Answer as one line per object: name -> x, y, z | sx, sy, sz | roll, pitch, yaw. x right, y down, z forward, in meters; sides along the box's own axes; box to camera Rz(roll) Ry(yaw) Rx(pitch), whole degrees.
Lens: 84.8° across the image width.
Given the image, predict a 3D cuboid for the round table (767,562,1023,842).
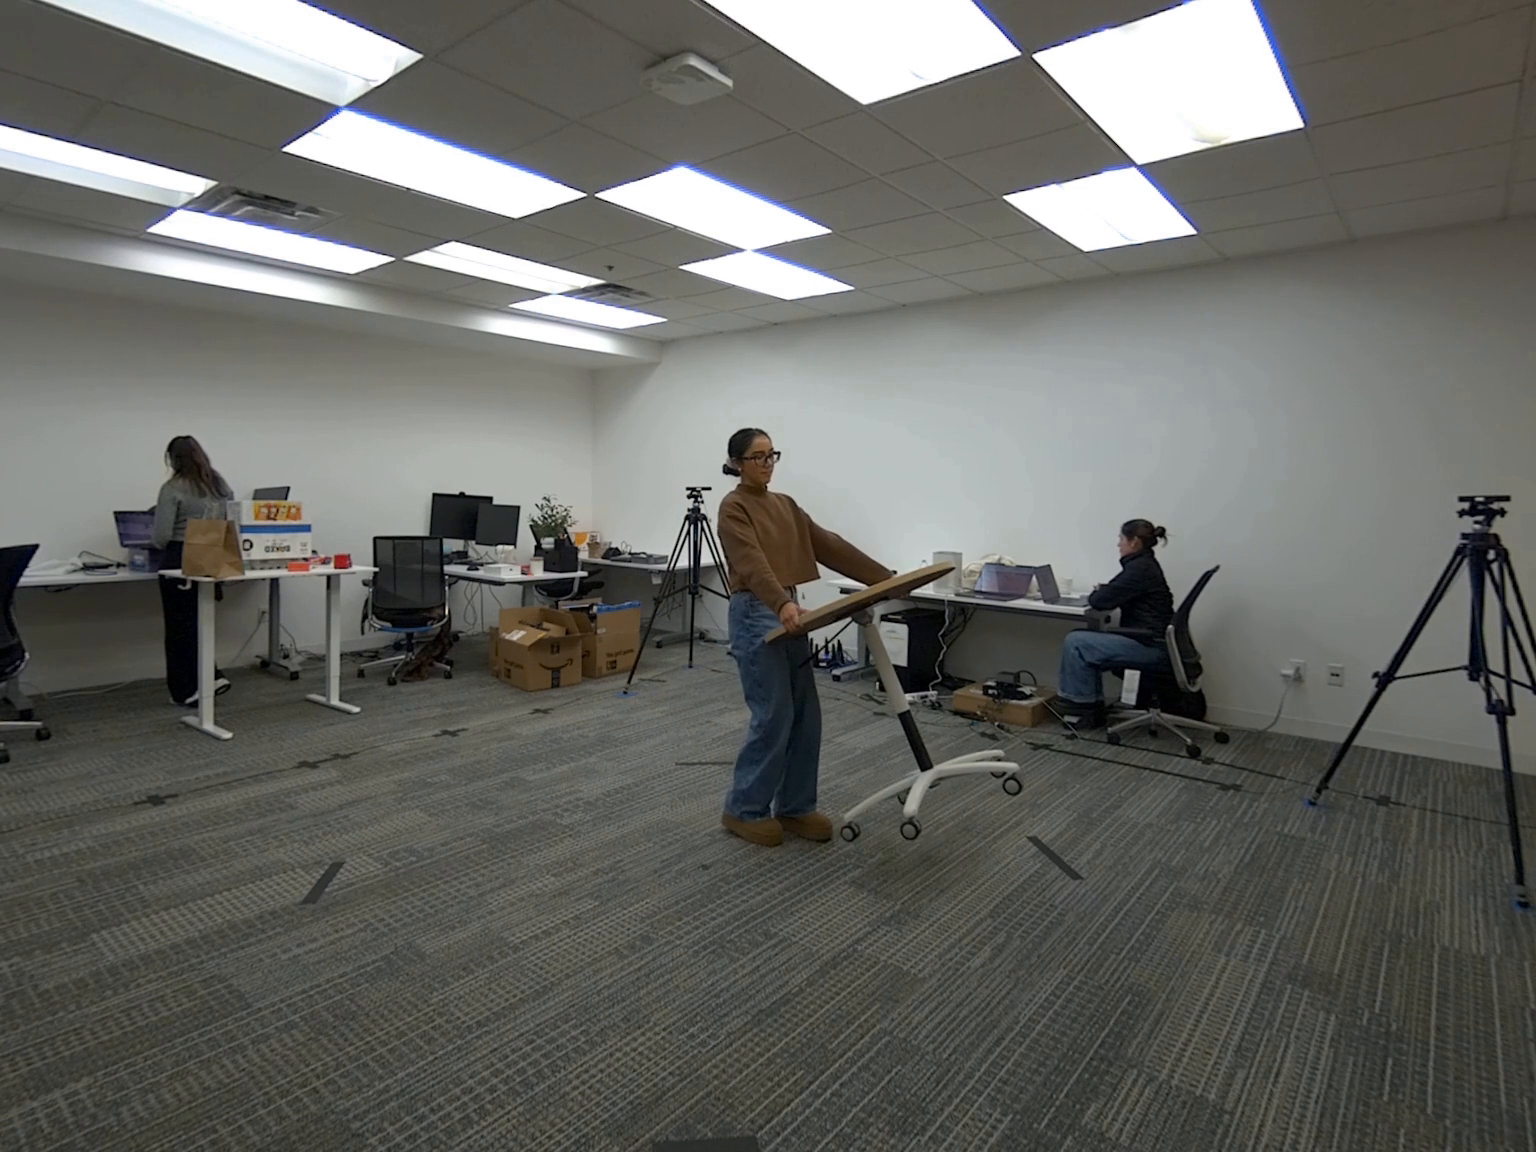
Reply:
round table -> 0.484, 0.458, 3.143 | 0.782, 0.797, 0.778 | -21, -9, -5
